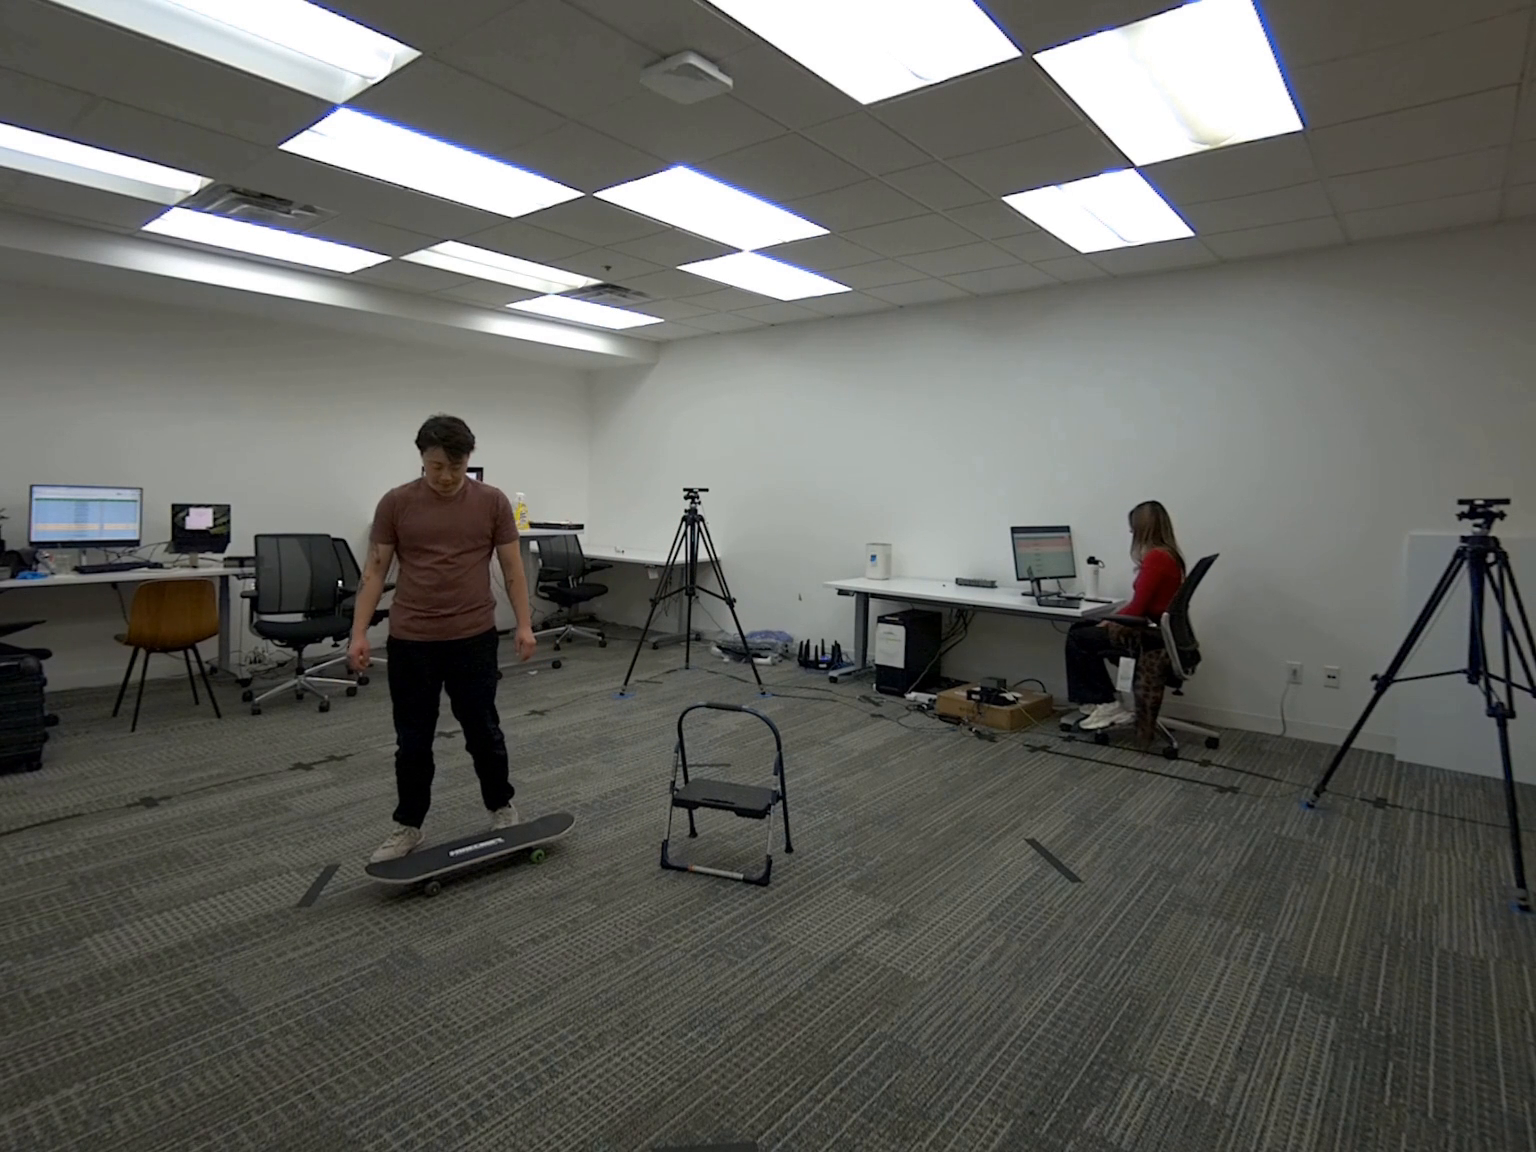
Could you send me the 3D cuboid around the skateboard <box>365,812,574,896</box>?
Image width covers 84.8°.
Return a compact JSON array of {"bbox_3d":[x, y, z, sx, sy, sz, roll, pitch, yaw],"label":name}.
[{"bbox_3d":[-1.058,1.008,3.069,0.762,0.110,0.200,-5,7,-42],"label":"skateboard"}]
